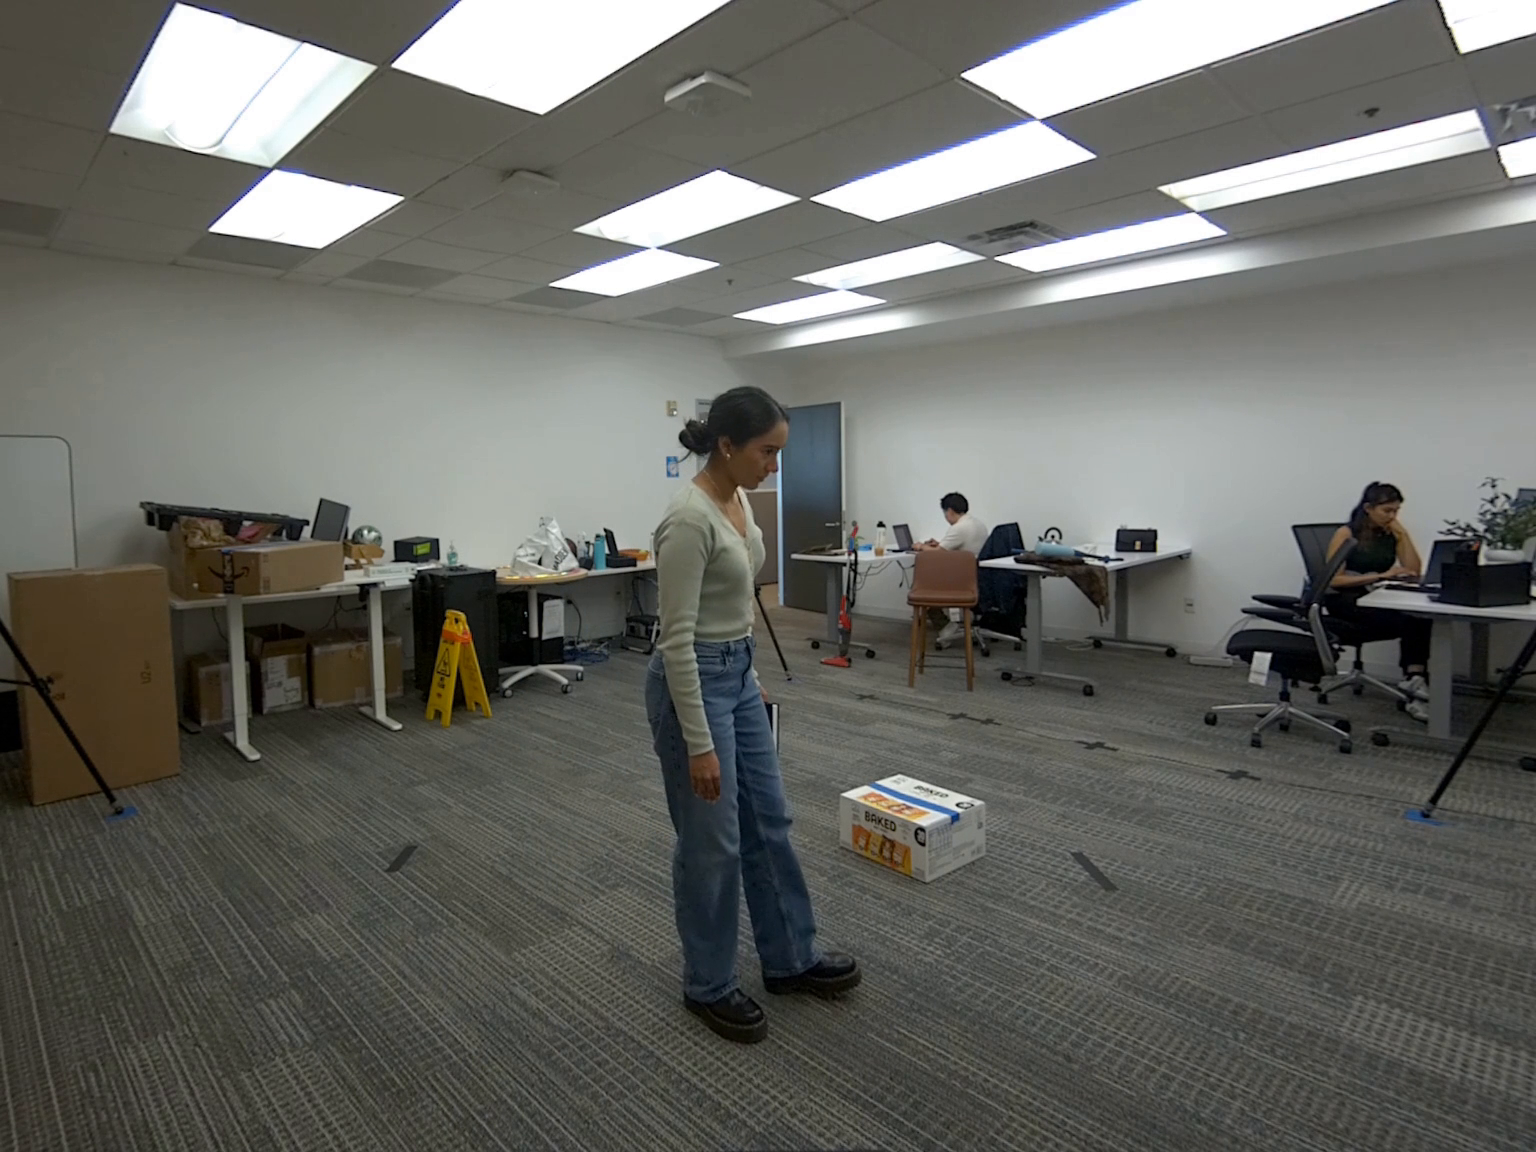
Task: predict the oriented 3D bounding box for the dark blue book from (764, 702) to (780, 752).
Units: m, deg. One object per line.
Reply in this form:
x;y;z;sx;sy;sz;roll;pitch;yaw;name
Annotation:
-0.029;0.493;2.462;0.167;0.245;0.044;-1;-2;23;dark blue book
